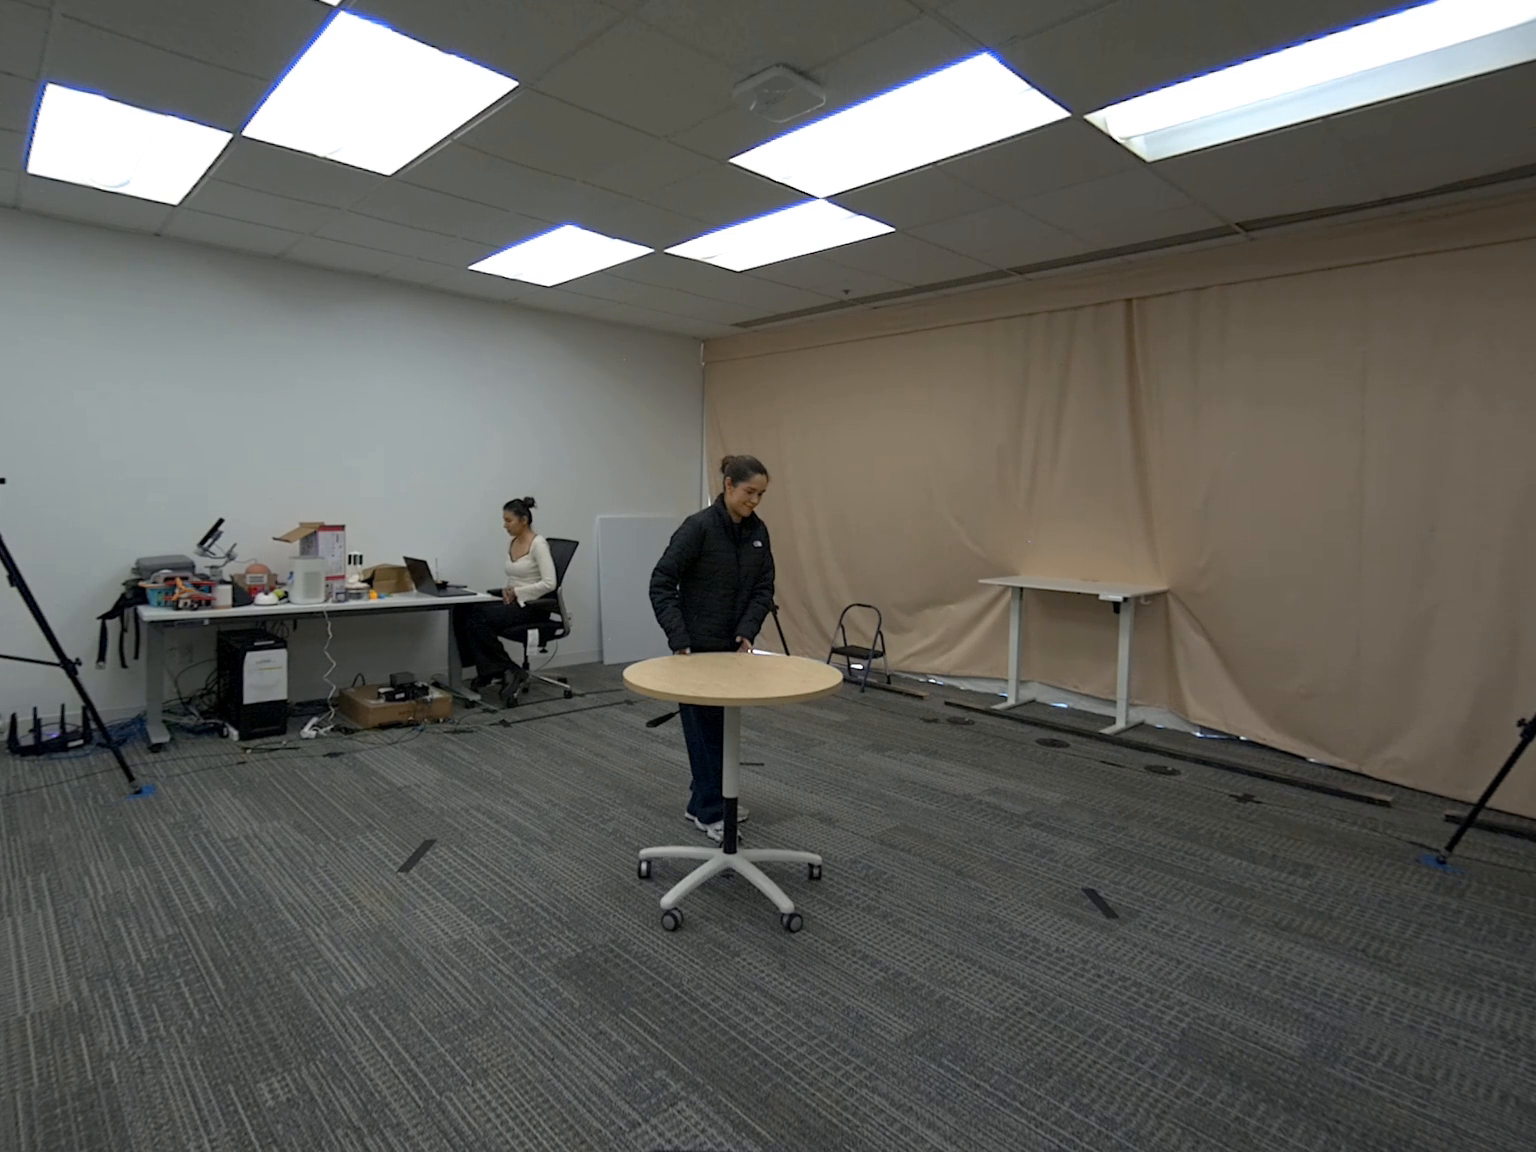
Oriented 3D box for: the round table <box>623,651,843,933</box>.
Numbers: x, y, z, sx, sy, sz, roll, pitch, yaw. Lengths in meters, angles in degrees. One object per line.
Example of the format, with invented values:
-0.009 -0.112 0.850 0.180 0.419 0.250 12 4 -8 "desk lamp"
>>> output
-0.146 0.729 2.961 0.784 0.784 0.787 1 4 -1 "round table"
